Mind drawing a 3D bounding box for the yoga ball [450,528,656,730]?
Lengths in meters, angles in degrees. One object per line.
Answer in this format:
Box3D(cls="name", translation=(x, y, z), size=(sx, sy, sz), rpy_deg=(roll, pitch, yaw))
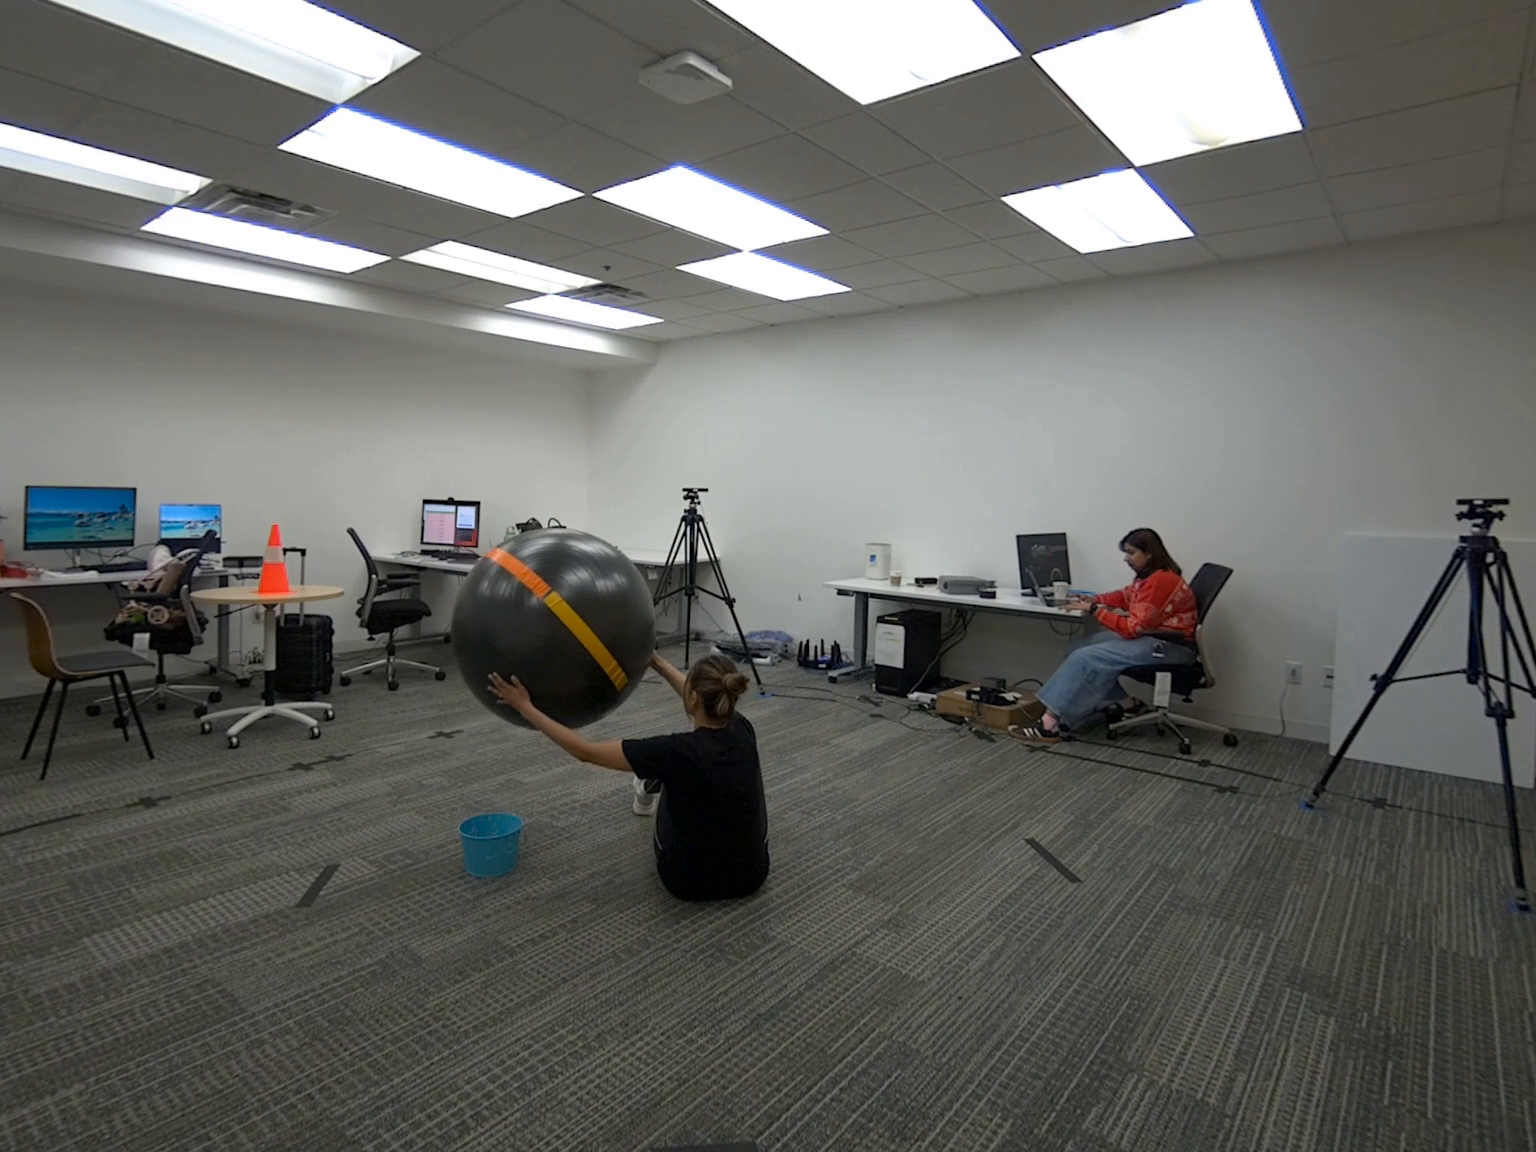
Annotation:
Box3D(cls="yoga ball", translation=(-0.804, 0.207, 3.199), size=(0.757, 0.756, 0.762), rpy_deg=(1, 4, -2))
